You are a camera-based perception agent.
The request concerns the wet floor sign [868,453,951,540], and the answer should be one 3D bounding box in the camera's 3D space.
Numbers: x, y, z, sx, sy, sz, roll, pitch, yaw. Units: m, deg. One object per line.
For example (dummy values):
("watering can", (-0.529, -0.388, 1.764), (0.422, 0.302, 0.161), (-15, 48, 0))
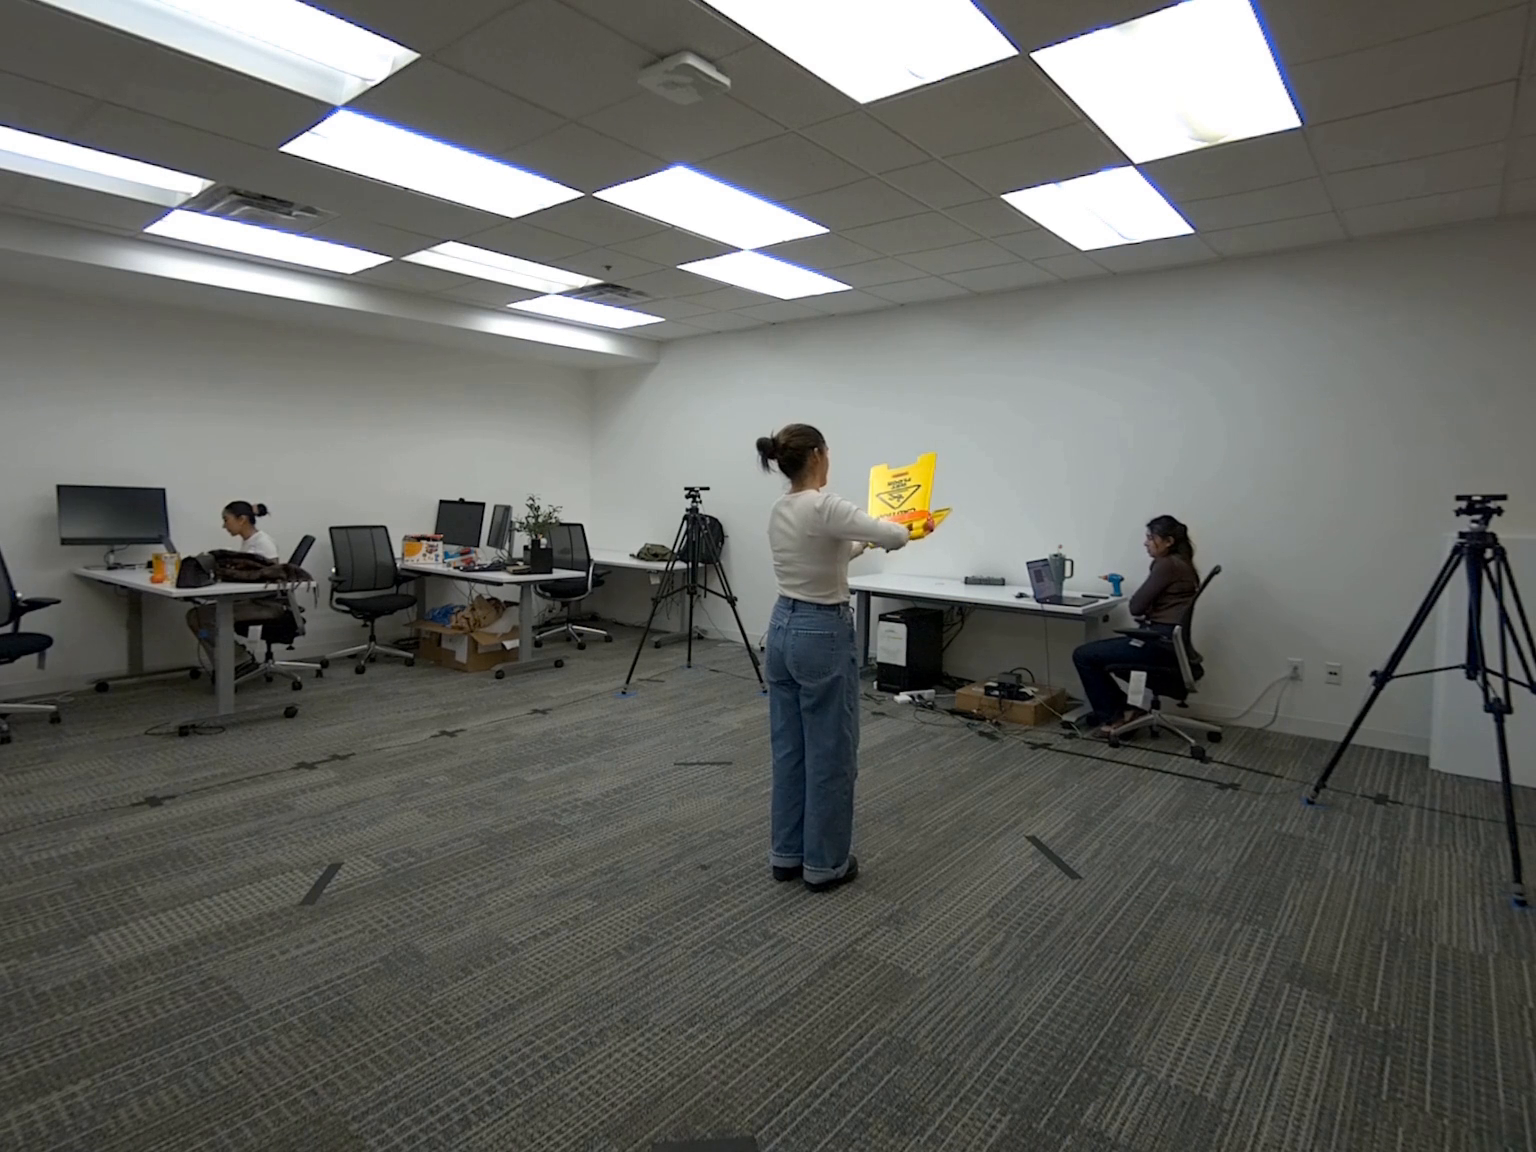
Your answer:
("wet floor sign", (0.526, -0.244, 3.295), (0.287, 0.284, 0.648), (-14, 18, 21))
